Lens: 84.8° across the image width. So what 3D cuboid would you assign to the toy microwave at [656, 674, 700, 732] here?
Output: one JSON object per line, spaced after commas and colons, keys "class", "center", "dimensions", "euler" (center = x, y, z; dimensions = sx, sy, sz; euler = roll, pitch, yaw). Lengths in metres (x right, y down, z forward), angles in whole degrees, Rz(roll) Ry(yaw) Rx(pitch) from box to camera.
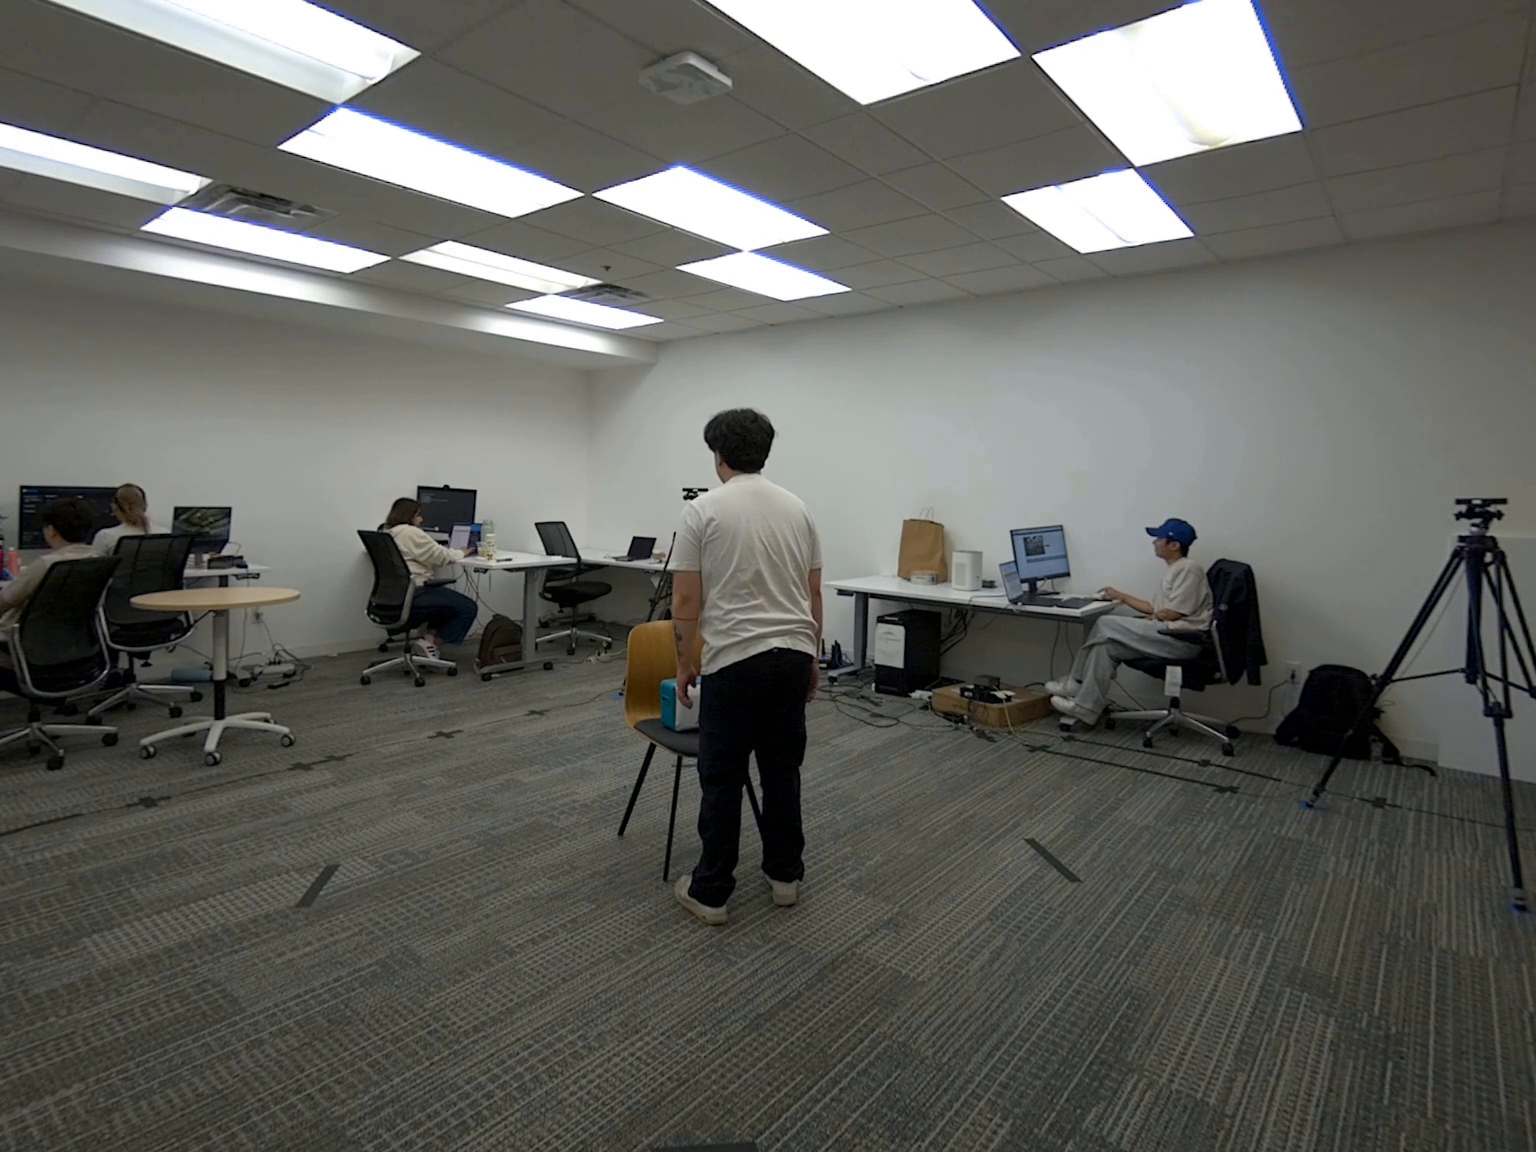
{"class": "toy microwave", "center": [-0.269, 0.478, 3.249], "dimensions": [0.279, 0.184, 0.156], "euler": [-1, 0, -26]}
